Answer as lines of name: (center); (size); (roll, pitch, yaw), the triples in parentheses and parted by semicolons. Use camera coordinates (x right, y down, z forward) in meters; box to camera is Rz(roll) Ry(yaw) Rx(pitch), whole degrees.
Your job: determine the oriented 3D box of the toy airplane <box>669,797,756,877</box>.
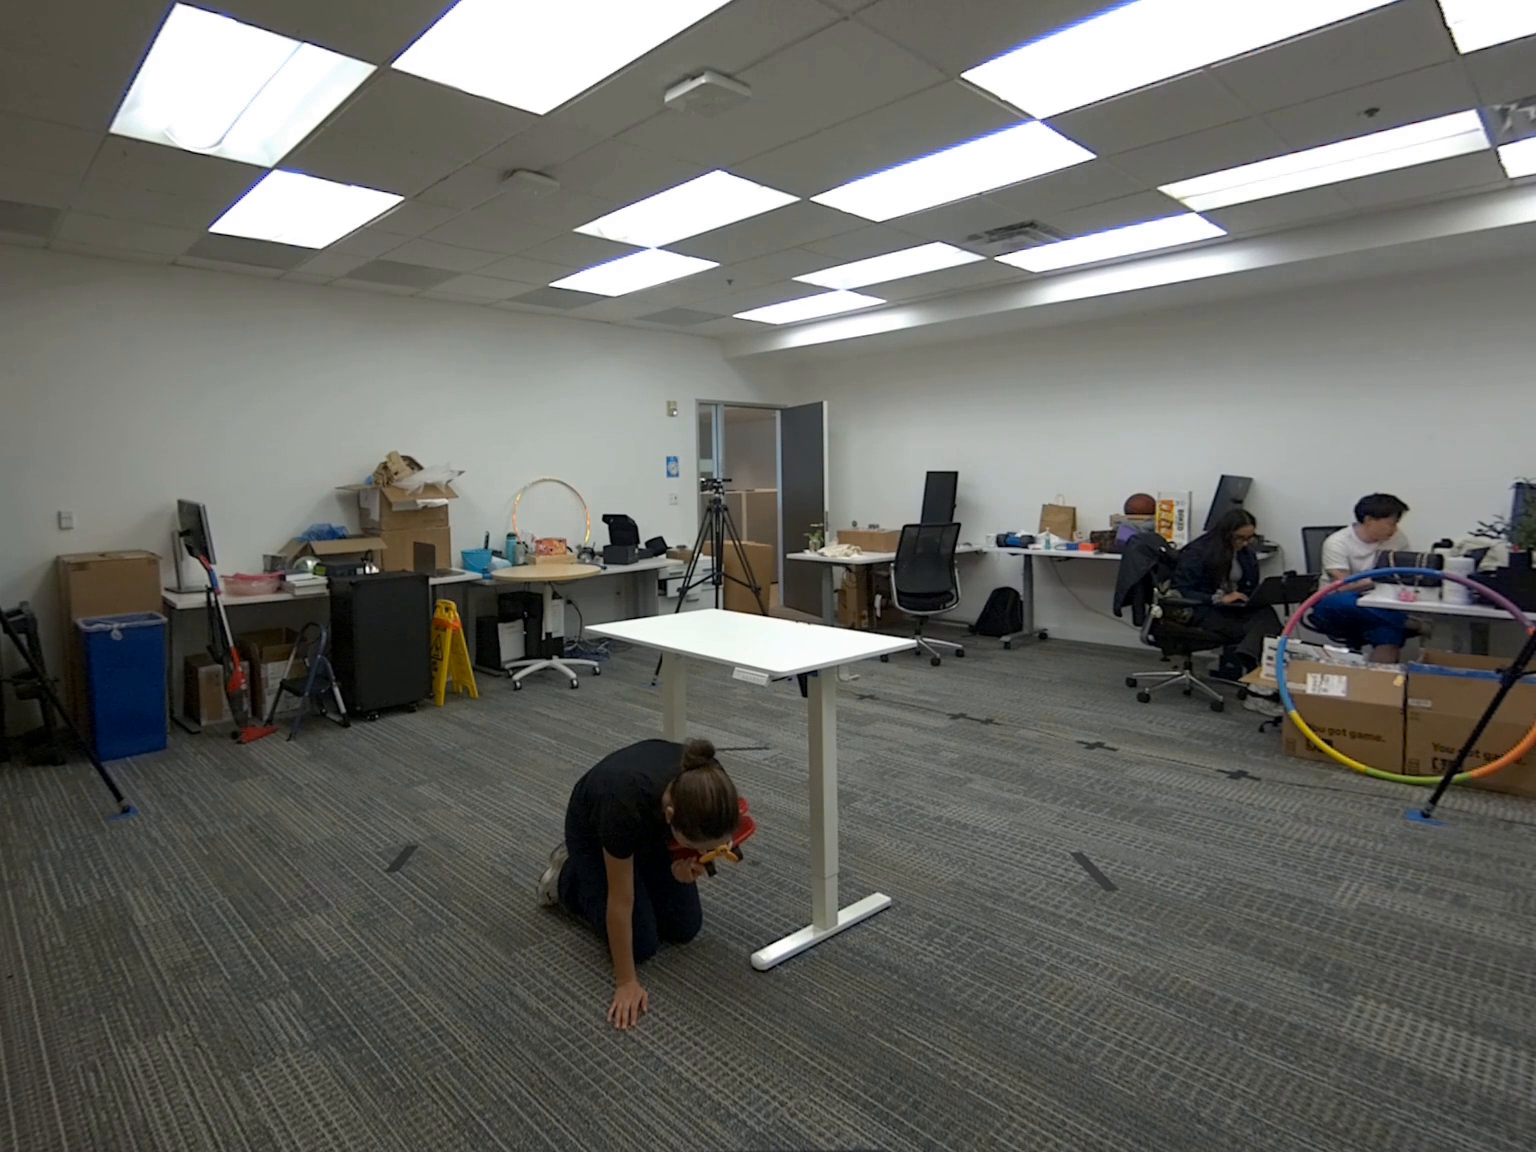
toy airplane: (-0.189, 0.725, 2.467); (0.267, 0.151, 0.251); (17, 46, 31)
